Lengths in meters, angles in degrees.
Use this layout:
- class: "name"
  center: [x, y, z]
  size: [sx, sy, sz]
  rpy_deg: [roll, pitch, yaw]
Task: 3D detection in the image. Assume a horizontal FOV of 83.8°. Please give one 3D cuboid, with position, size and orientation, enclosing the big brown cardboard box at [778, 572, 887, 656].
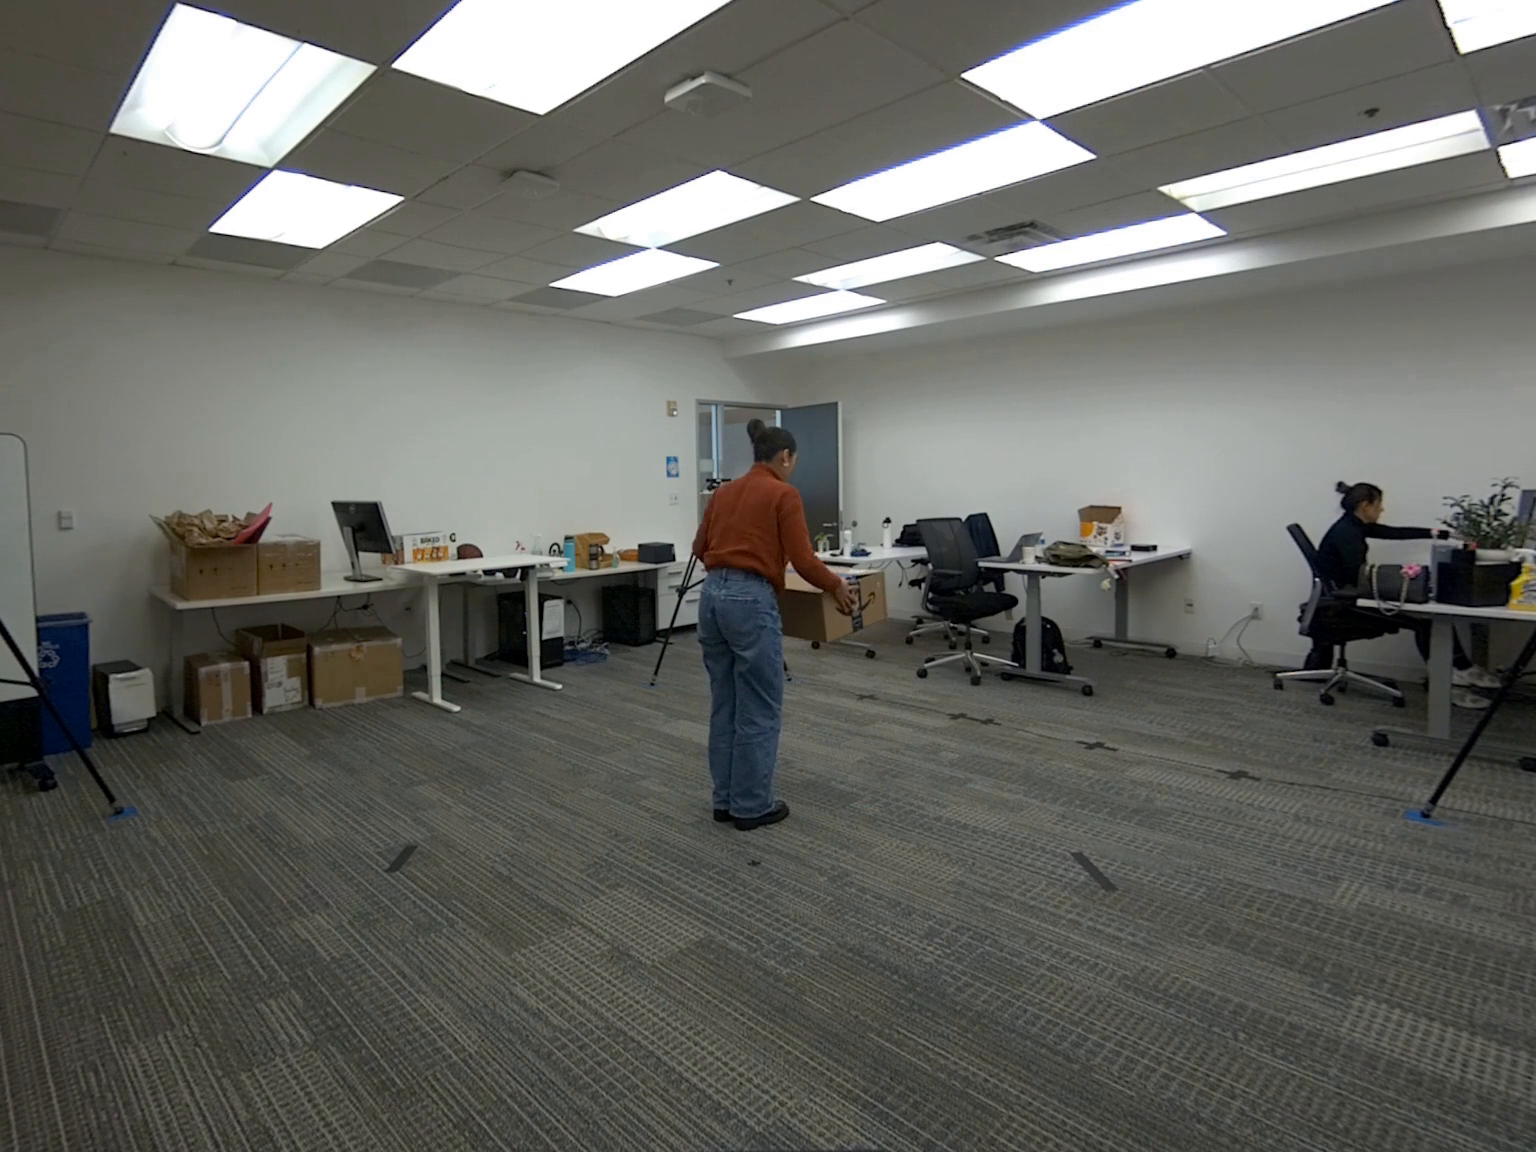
- class: "big brown cardboard box"
  center: [0.170, 0.114, 3.791]
  size: [0.607, 0.231, 0.409]
  rpy_deg: [5, 15, 45]
